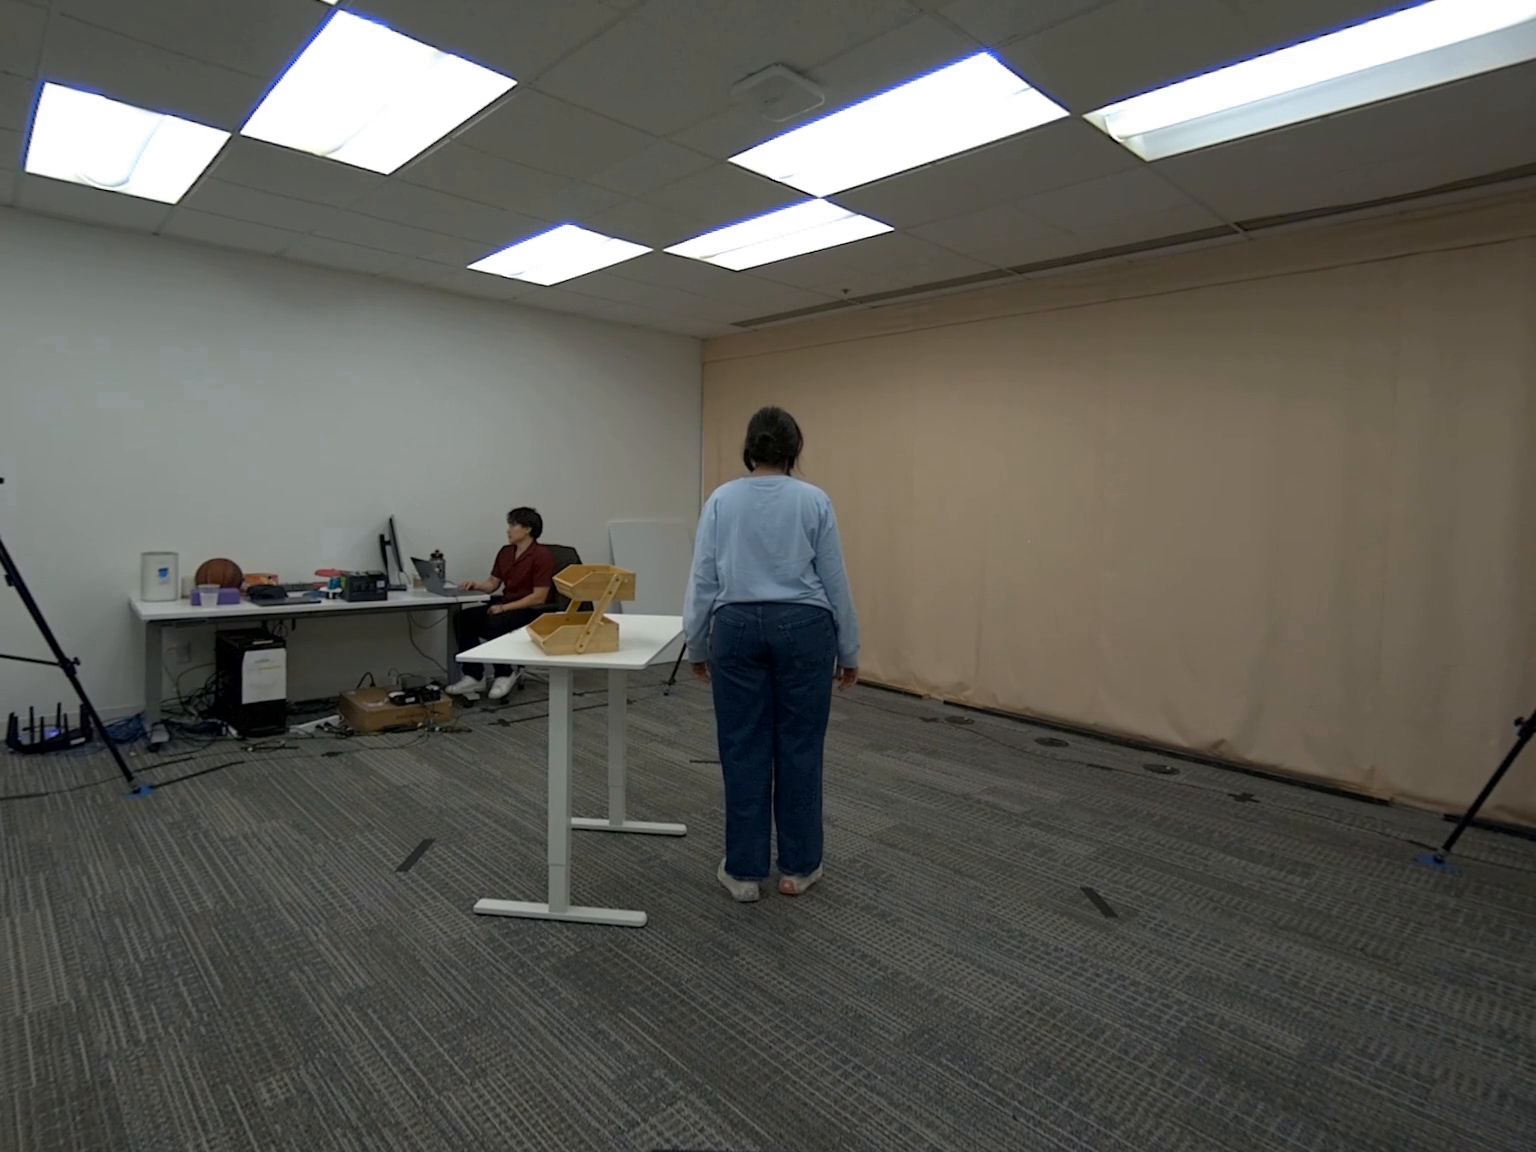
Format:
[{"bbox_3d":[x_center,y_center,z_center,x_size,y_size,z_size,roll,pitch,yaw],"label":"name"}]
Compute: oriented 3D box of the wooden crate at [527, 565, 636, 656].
[{"bbox_3d":[-0.652,0.107,2.831,0.297,0.272,0.331,0,4,-24],"label":"wooden crate"}]
